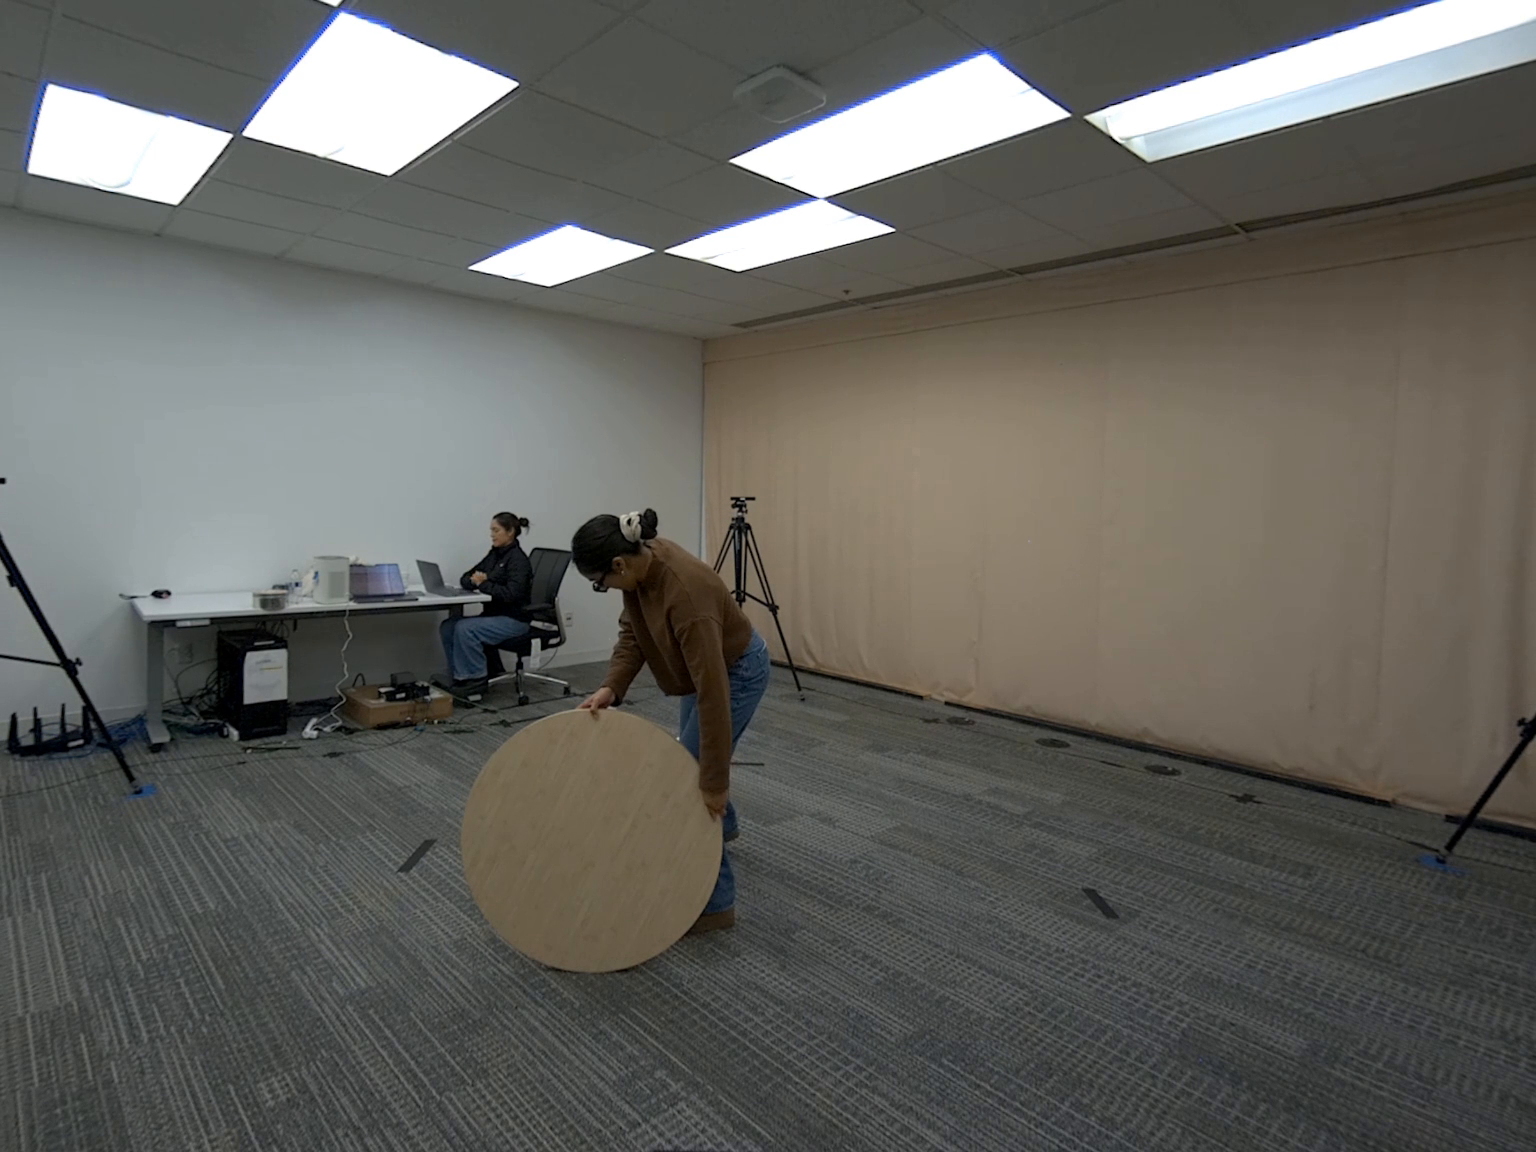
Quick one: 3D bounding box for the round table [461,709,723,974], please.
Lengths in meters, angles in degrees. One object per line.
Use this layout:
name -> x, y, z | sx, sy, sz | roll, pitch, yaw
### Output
round table -> -0.549, 0.762, 2.840 | 0.763, 0.764, 0.795 | 1, 1, -2
